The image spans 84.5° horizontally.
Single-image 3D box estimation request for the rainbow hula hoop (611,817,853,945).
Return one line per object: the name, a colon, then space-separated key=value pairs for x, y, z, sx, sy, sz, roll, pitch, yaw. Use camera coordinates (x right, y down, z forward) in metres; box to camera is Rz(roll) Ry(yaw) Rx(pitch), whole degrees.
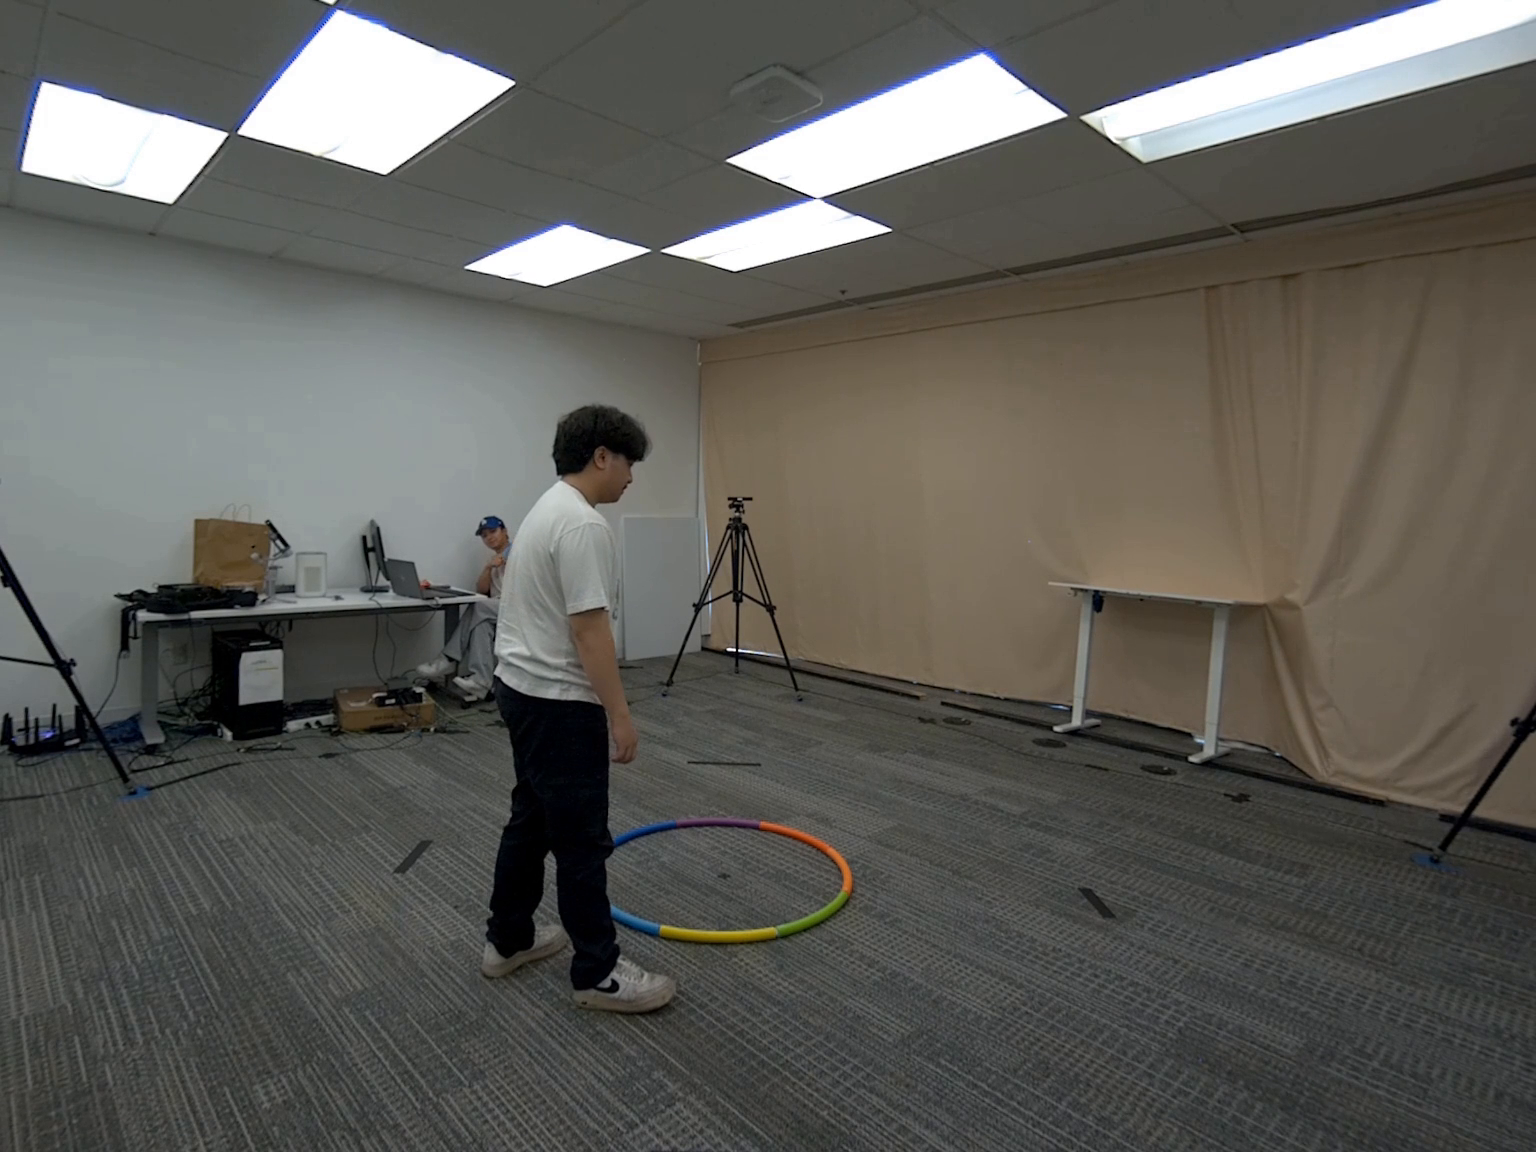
rainbow hula hoop: x=-0.193 y=1.082 z=3.108 sx=0.985 sy=0.051 sz=0.989 roll=1 pitch=5 yaw=-1
